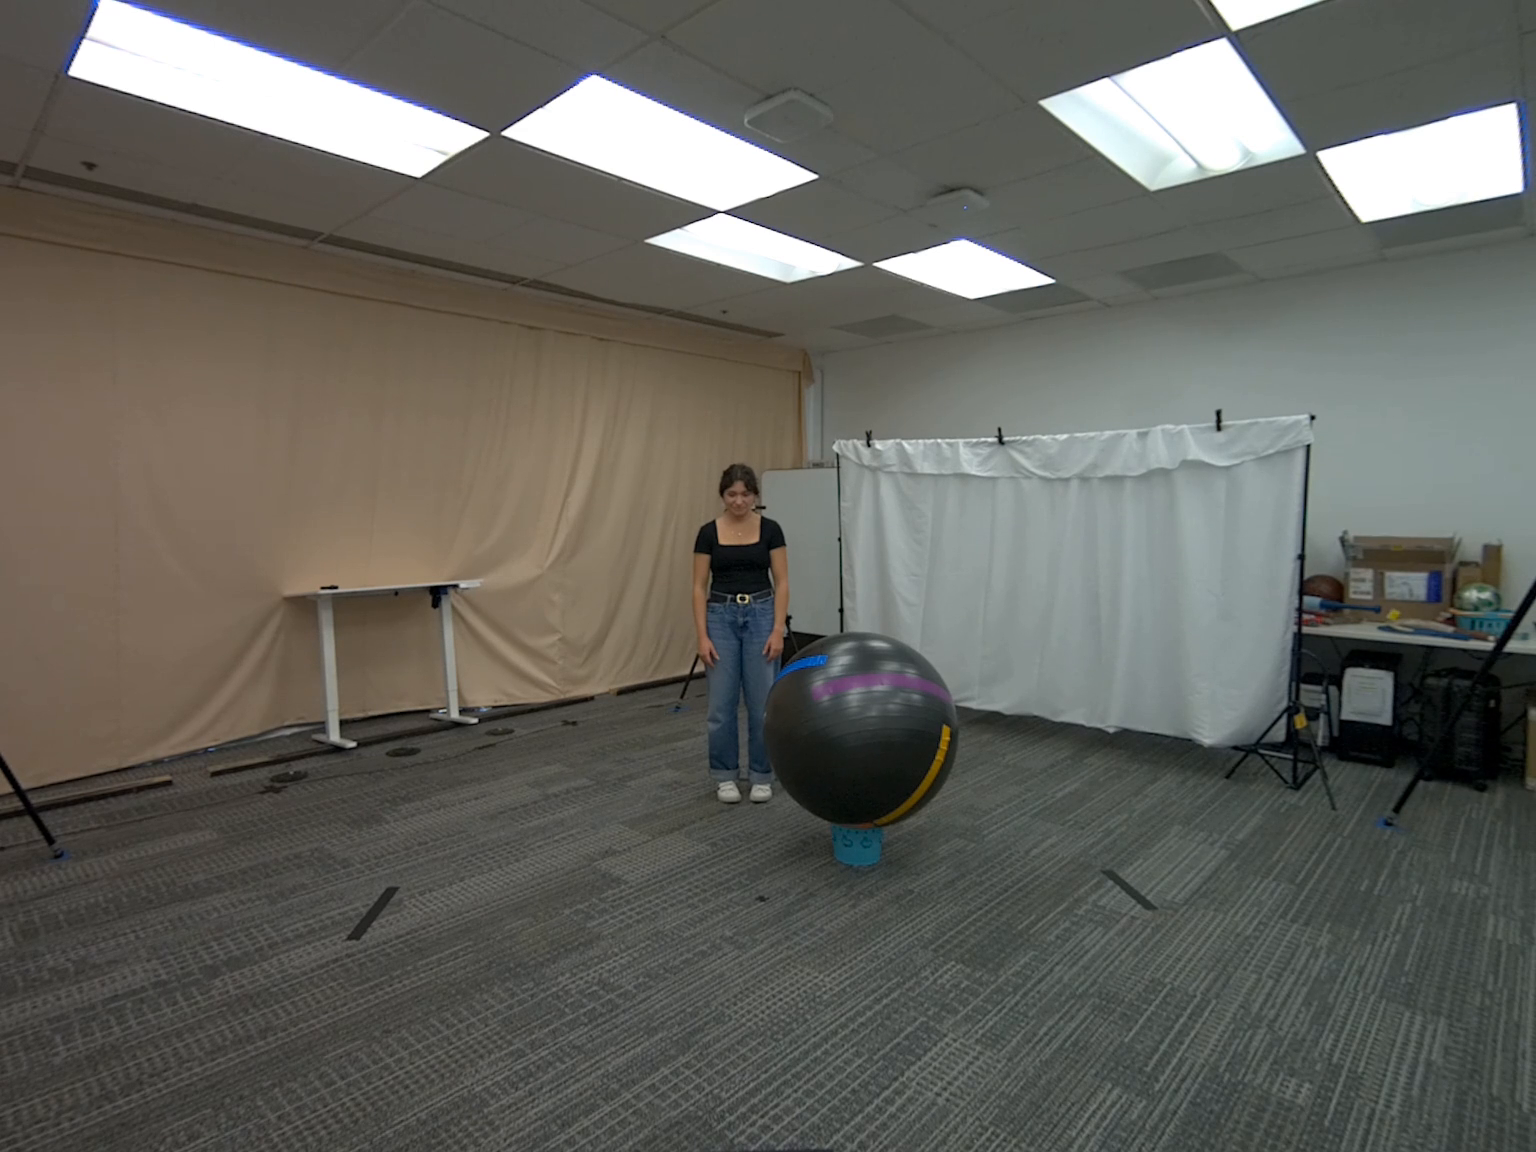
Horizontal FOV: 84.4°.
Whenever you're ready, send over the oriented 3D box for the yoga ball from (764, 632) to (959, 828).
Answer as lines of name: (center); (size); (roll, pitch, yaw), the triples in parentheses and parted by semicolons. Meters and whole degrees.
yoga ball: (0.364, 0.605, 3.346); (0.757, 0.756, 0.760); (0, 4, -2)
